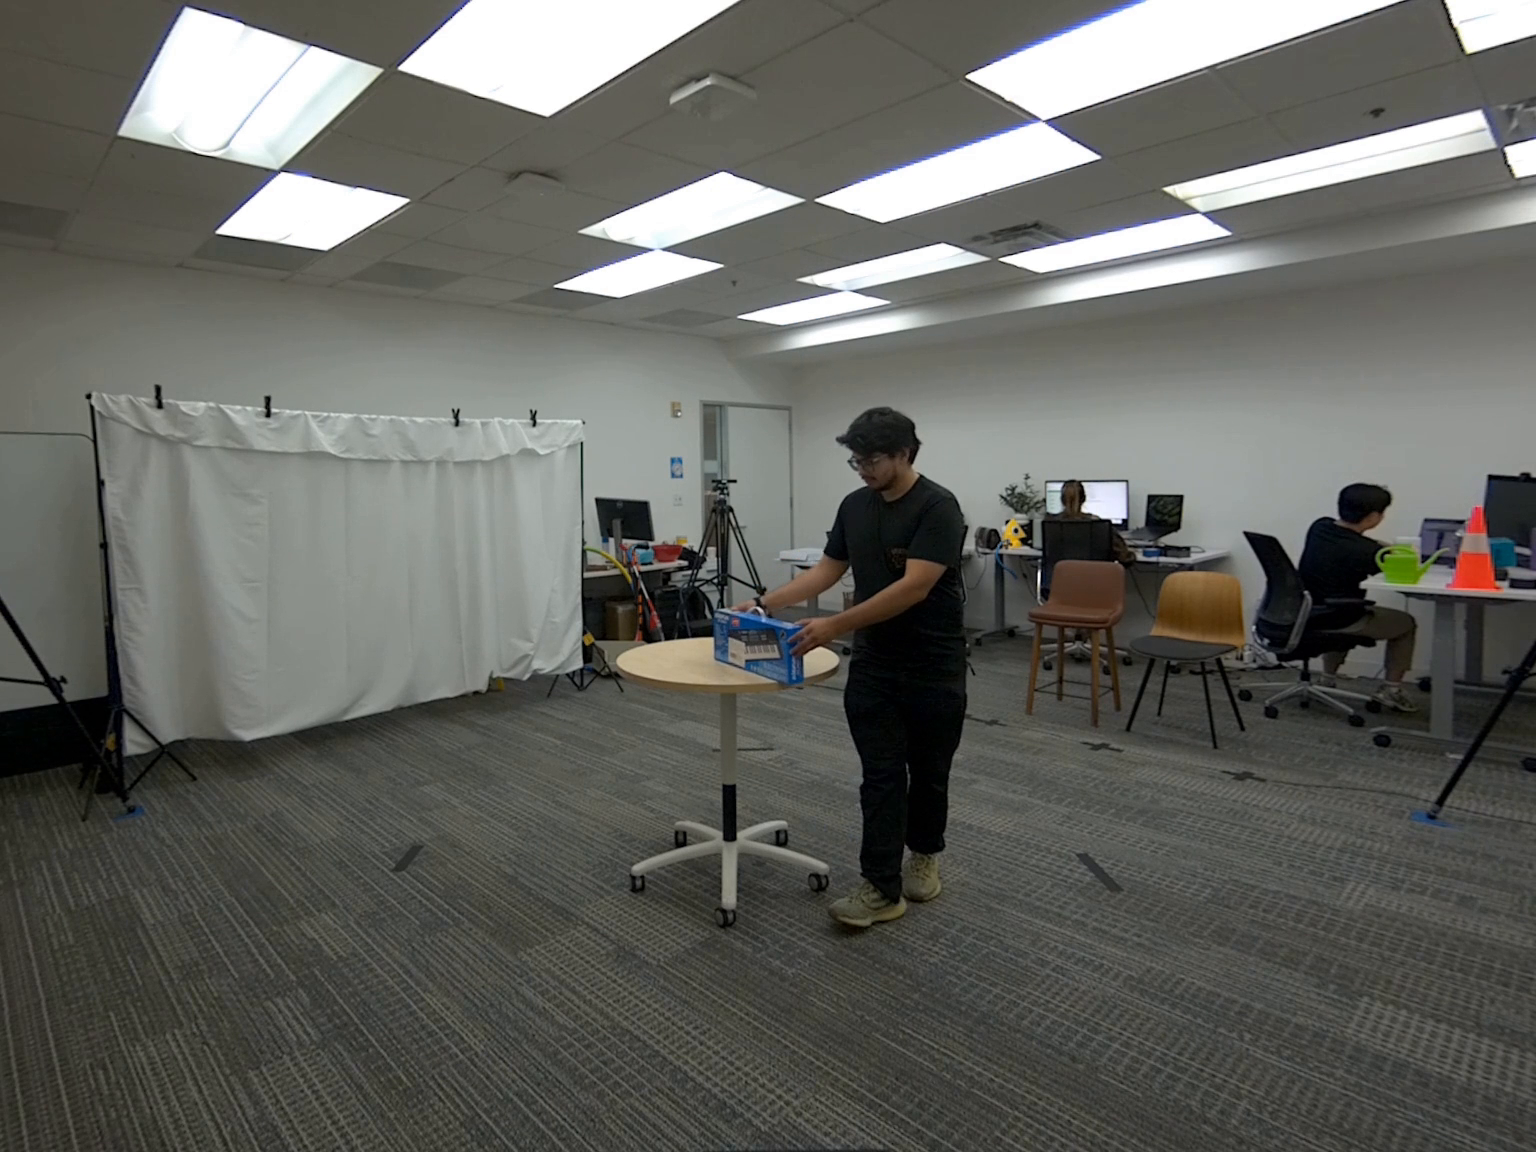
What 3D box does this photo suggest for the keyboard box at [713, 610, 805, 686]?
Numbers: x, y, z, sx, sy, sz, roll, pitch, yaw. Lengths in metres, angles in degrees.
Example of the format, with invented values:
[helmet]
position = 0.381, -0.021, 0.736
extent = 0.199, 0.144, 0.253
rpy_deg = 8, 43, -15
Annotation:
[keyboard box]
position = -0.040, 0.222, 2.740
extent = 0.057, 0.175, 0.450
rpy_deg = -2, 6, -33
